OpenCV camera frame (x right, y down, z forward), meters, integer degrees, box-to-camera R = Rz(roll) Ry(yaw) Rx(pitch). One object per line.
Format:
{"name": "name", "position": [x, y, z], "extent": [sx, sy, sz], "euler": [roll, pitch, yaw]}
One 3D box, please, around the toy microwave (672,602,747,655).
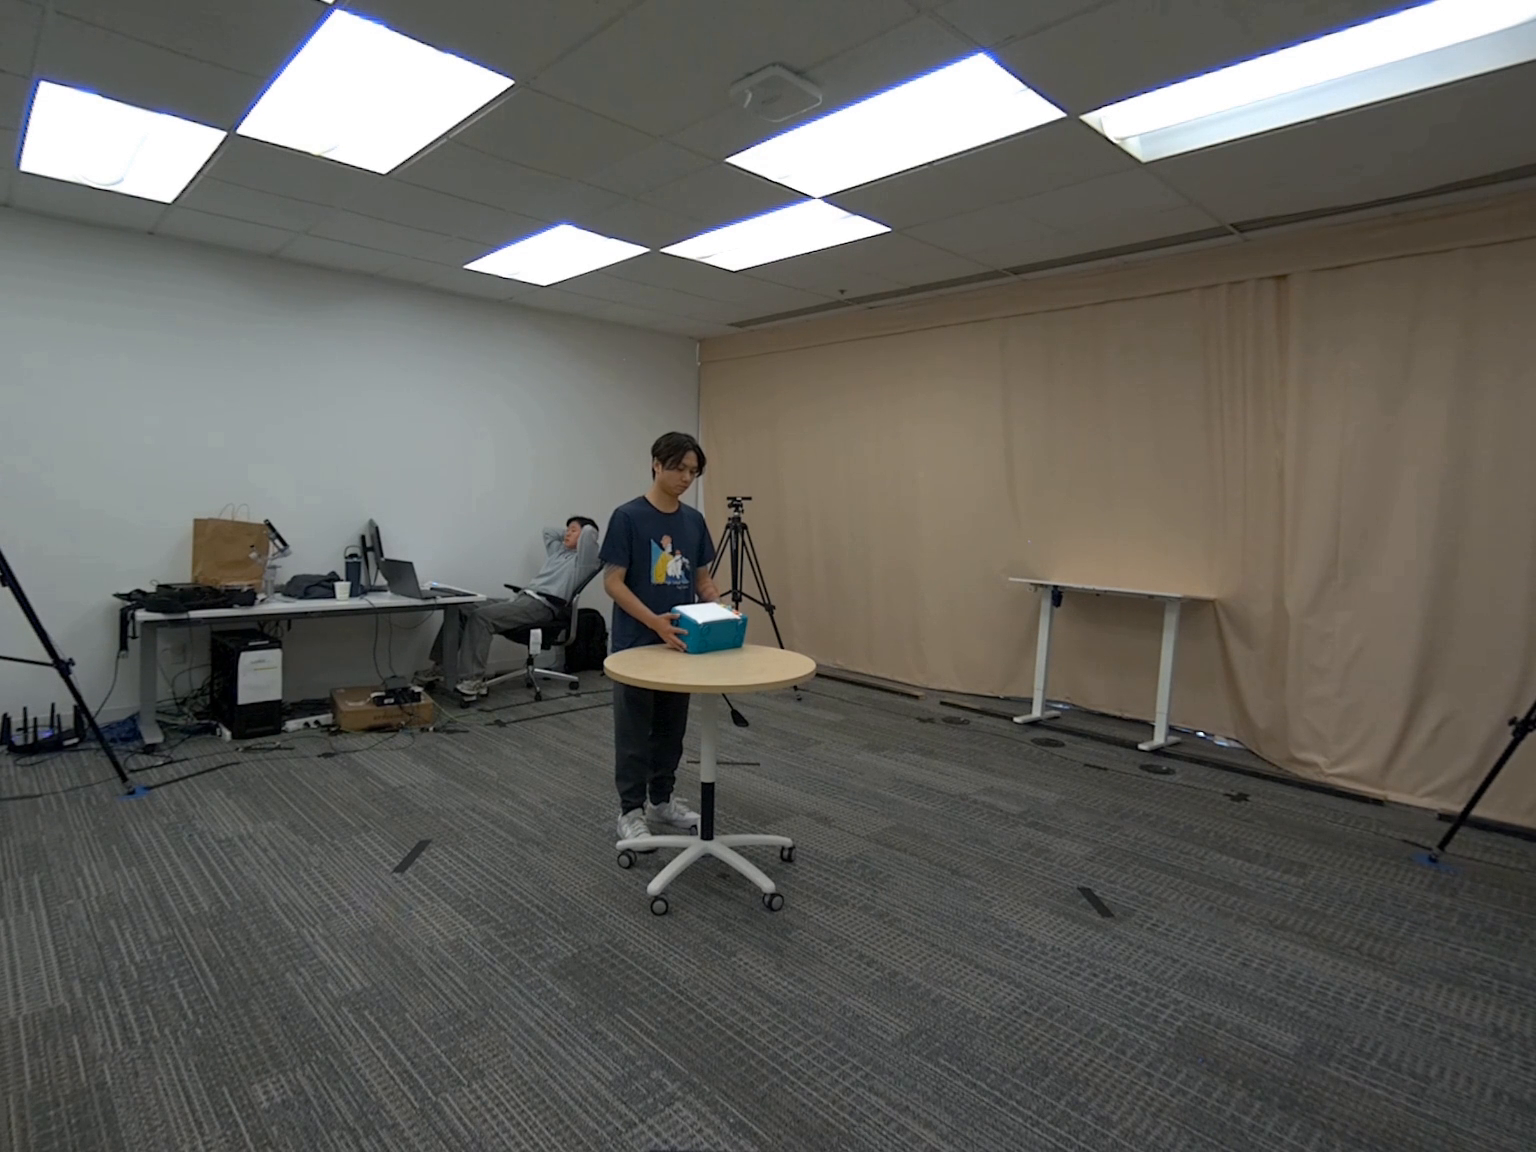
{"name": "toy microwave", "position": [-0.239, 0.197, 3.295], "extent": [0.280, 0.151, 0.190], "euler": [-4, 21, -42]}
